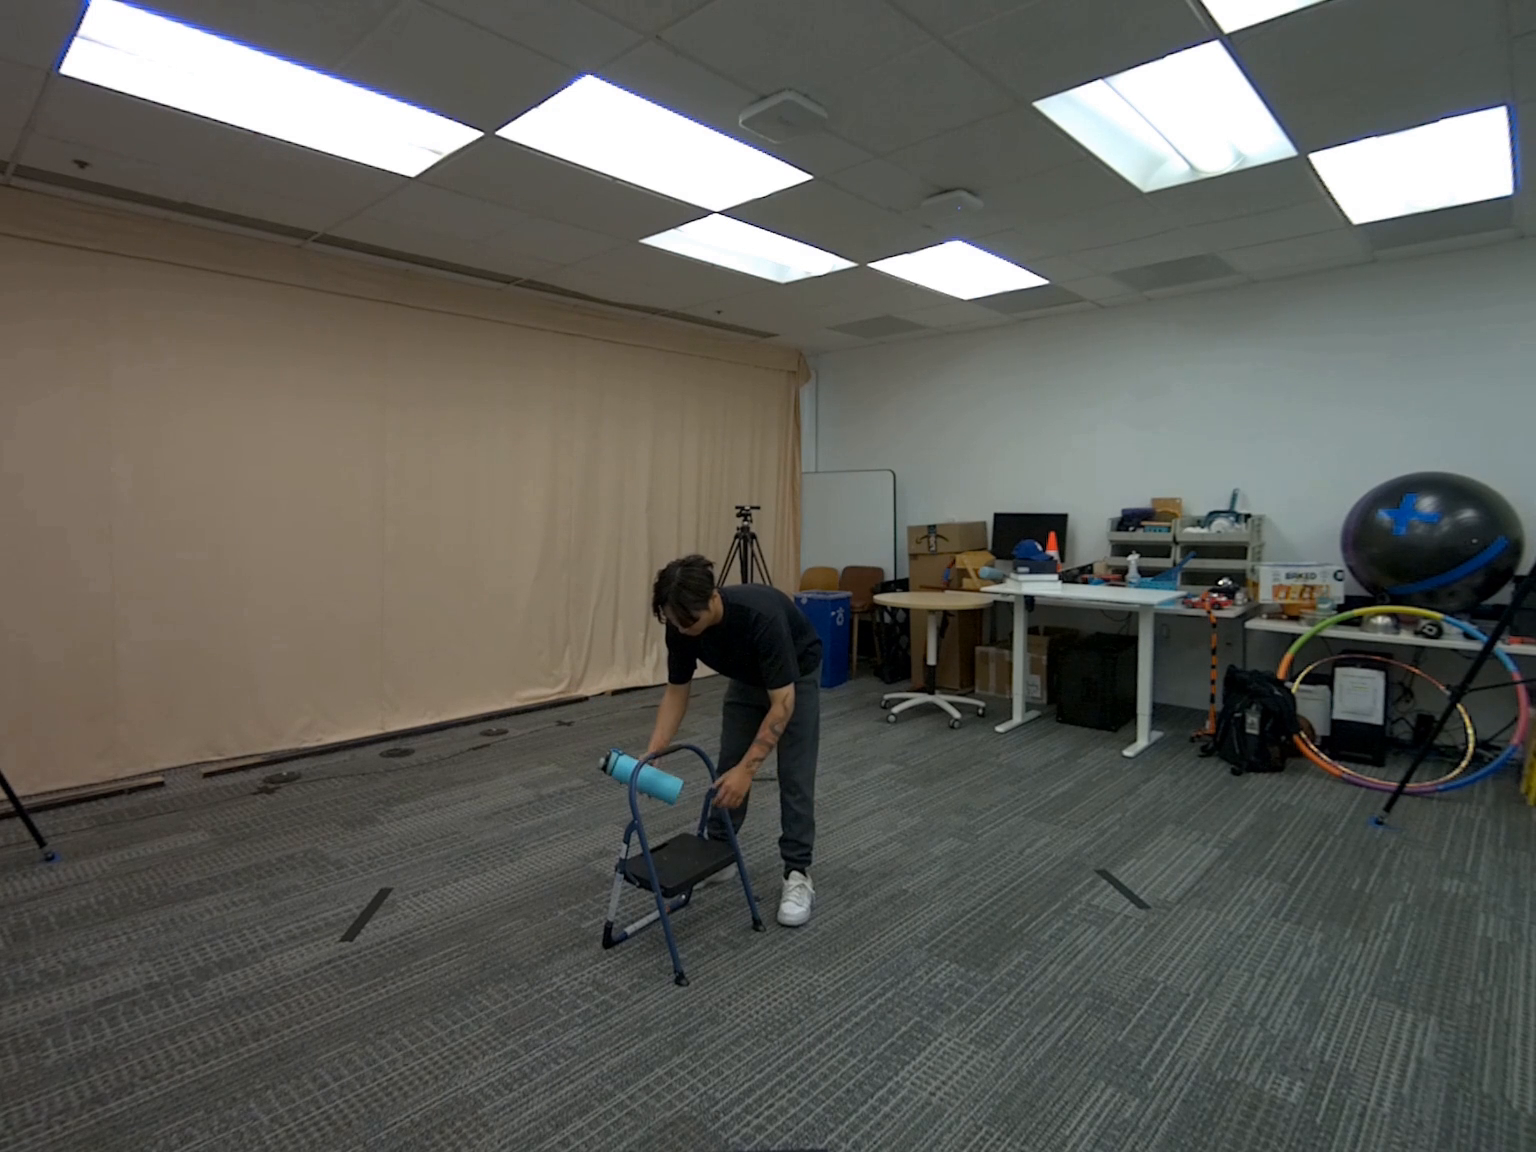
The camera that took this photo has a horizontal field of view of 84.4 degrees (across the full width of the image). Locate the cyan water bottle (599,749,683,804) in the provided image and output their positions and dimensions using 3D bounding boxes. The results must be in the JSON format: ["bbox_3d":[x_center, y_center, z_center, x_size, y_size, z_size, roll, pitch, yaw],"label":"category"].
[{"bbox_3d":[-0.426,0.663,2.812,0.284,0.092,0.092,24,4,2],"label":"cyan water bottle"}]
